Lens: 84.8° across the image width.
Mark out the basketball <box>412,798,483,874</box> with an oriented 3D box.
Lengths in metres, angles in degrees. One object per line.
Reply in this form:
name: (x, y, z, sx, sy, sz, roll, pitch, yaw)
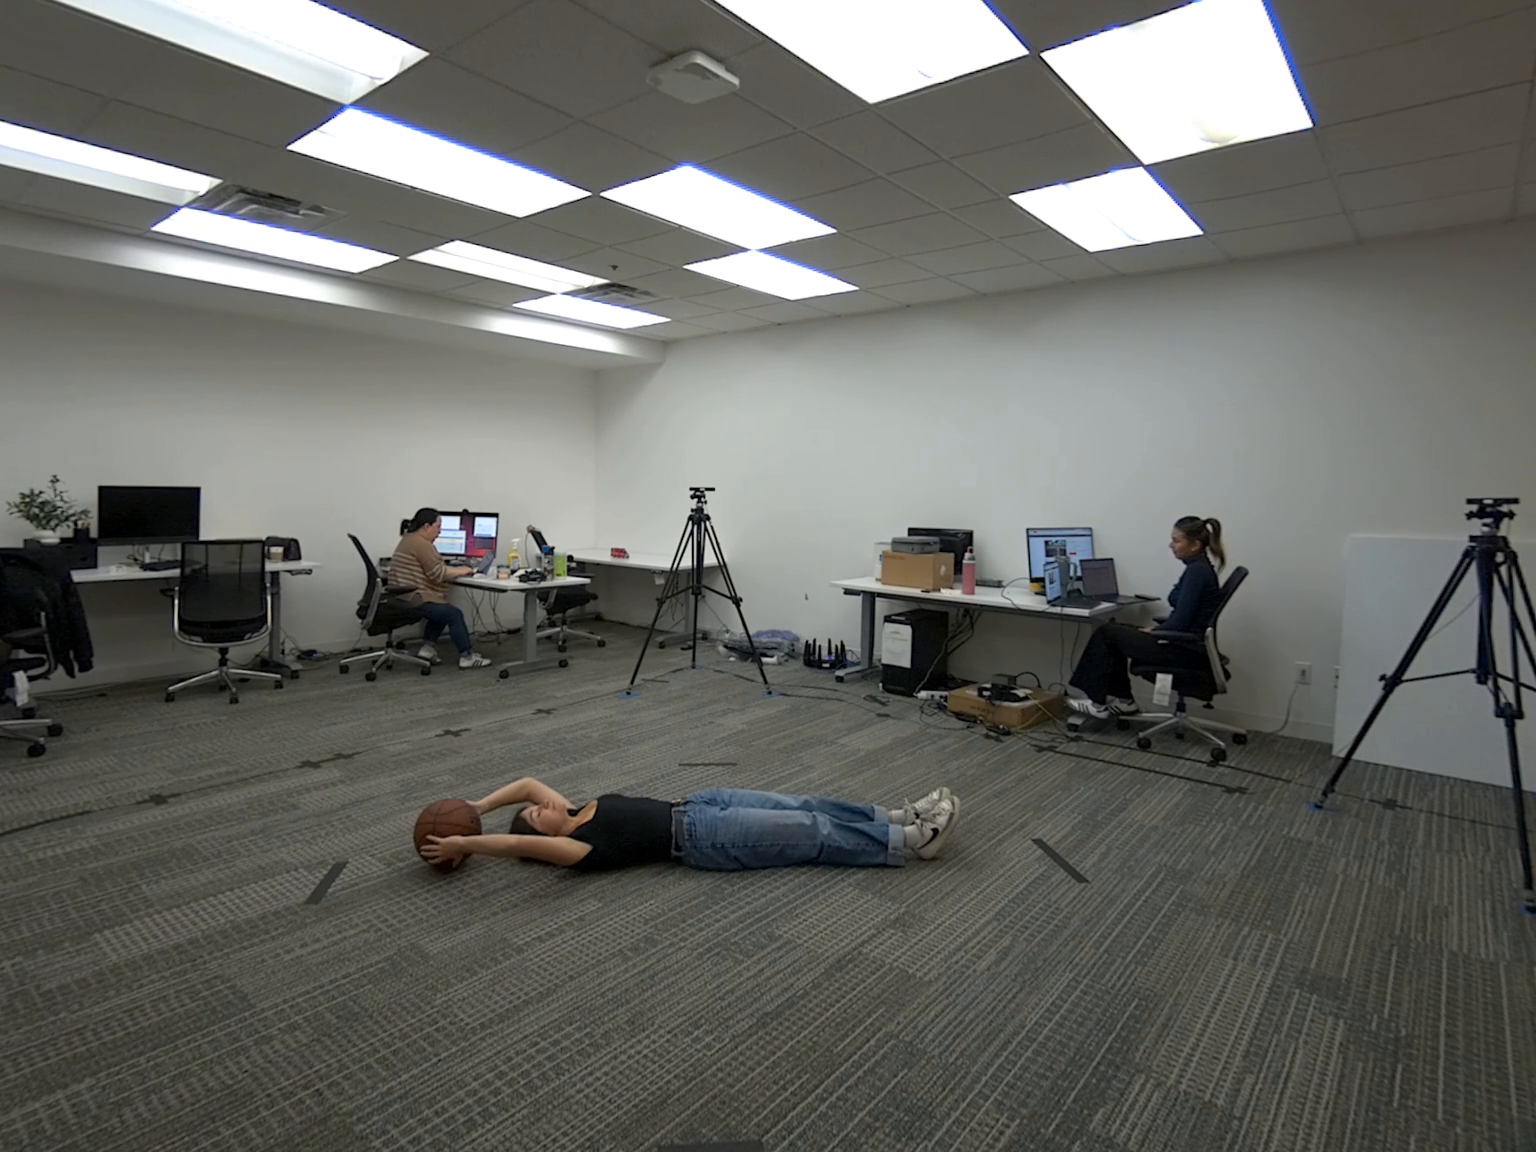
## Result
basketball: (-1.179, 0.923, 3.095, 0.235, 0.235, 0.237, 1, 4, -2)
